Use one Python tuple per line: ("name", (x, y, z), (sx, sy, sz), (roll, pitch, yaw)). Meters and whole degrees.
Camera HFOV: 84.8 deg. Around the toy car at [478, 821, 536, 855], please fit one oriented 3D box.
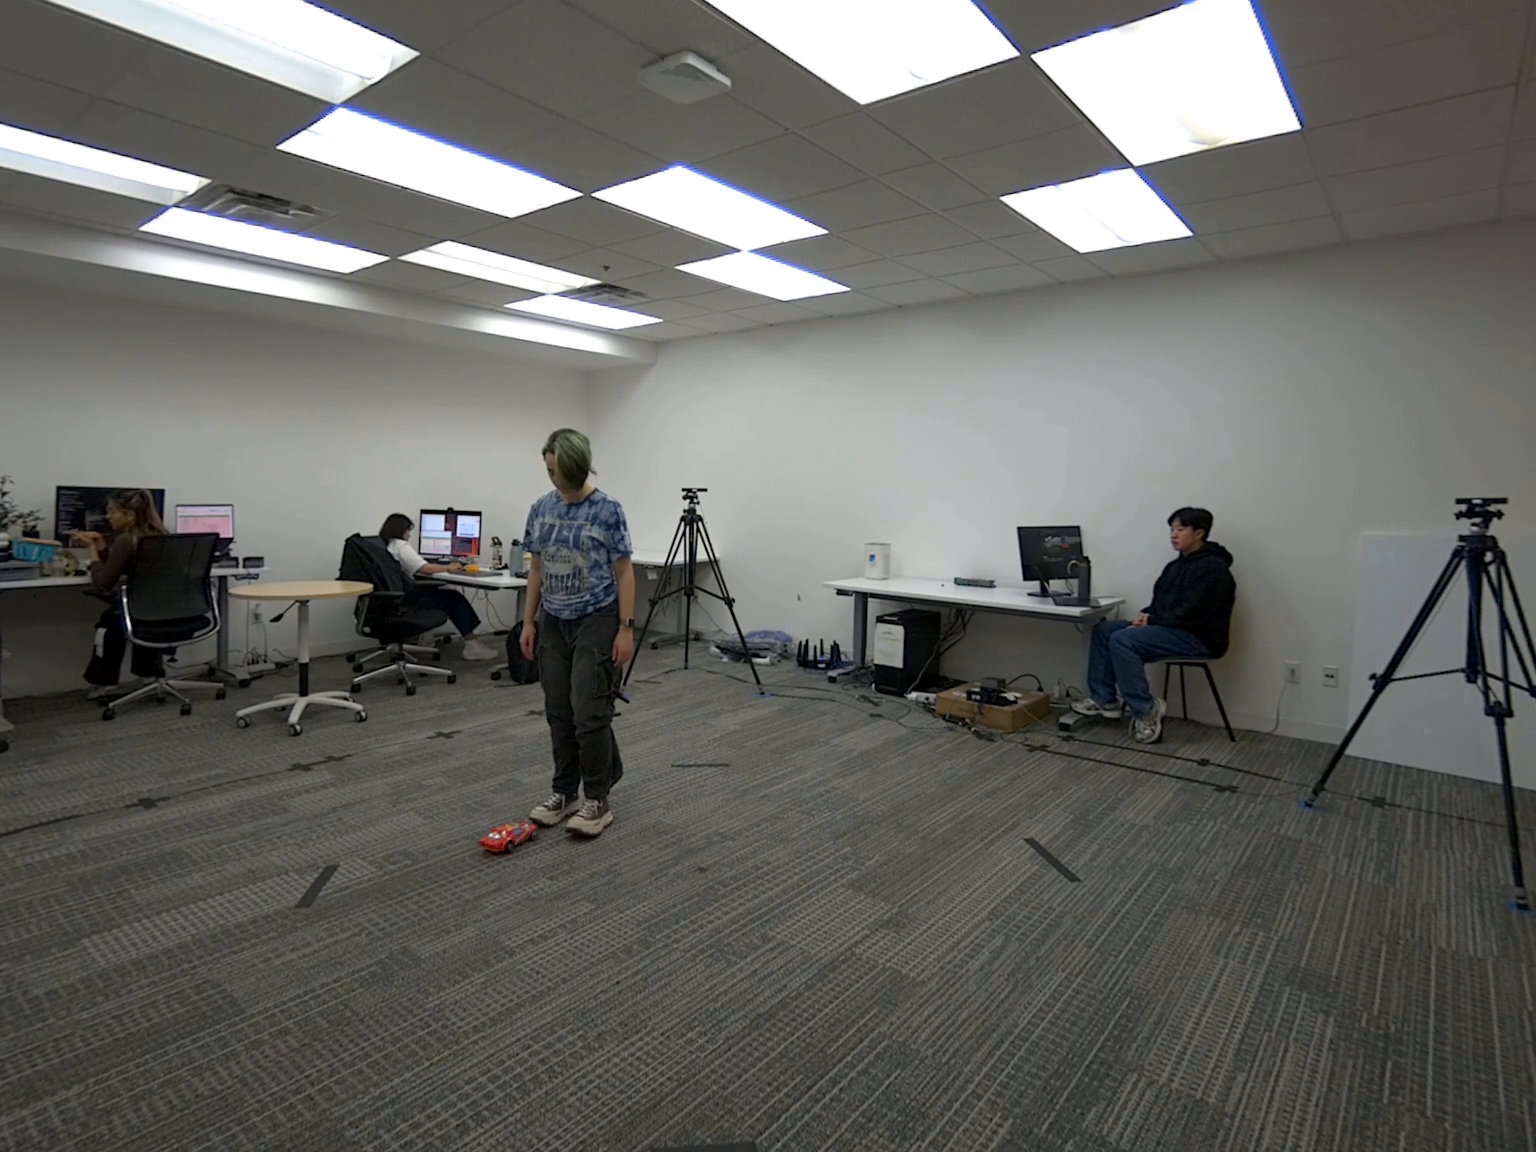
("toy car", (-1.021, 1.012, 3.278), (0.134, 0.084, 0.246), (3, -6, 28))
